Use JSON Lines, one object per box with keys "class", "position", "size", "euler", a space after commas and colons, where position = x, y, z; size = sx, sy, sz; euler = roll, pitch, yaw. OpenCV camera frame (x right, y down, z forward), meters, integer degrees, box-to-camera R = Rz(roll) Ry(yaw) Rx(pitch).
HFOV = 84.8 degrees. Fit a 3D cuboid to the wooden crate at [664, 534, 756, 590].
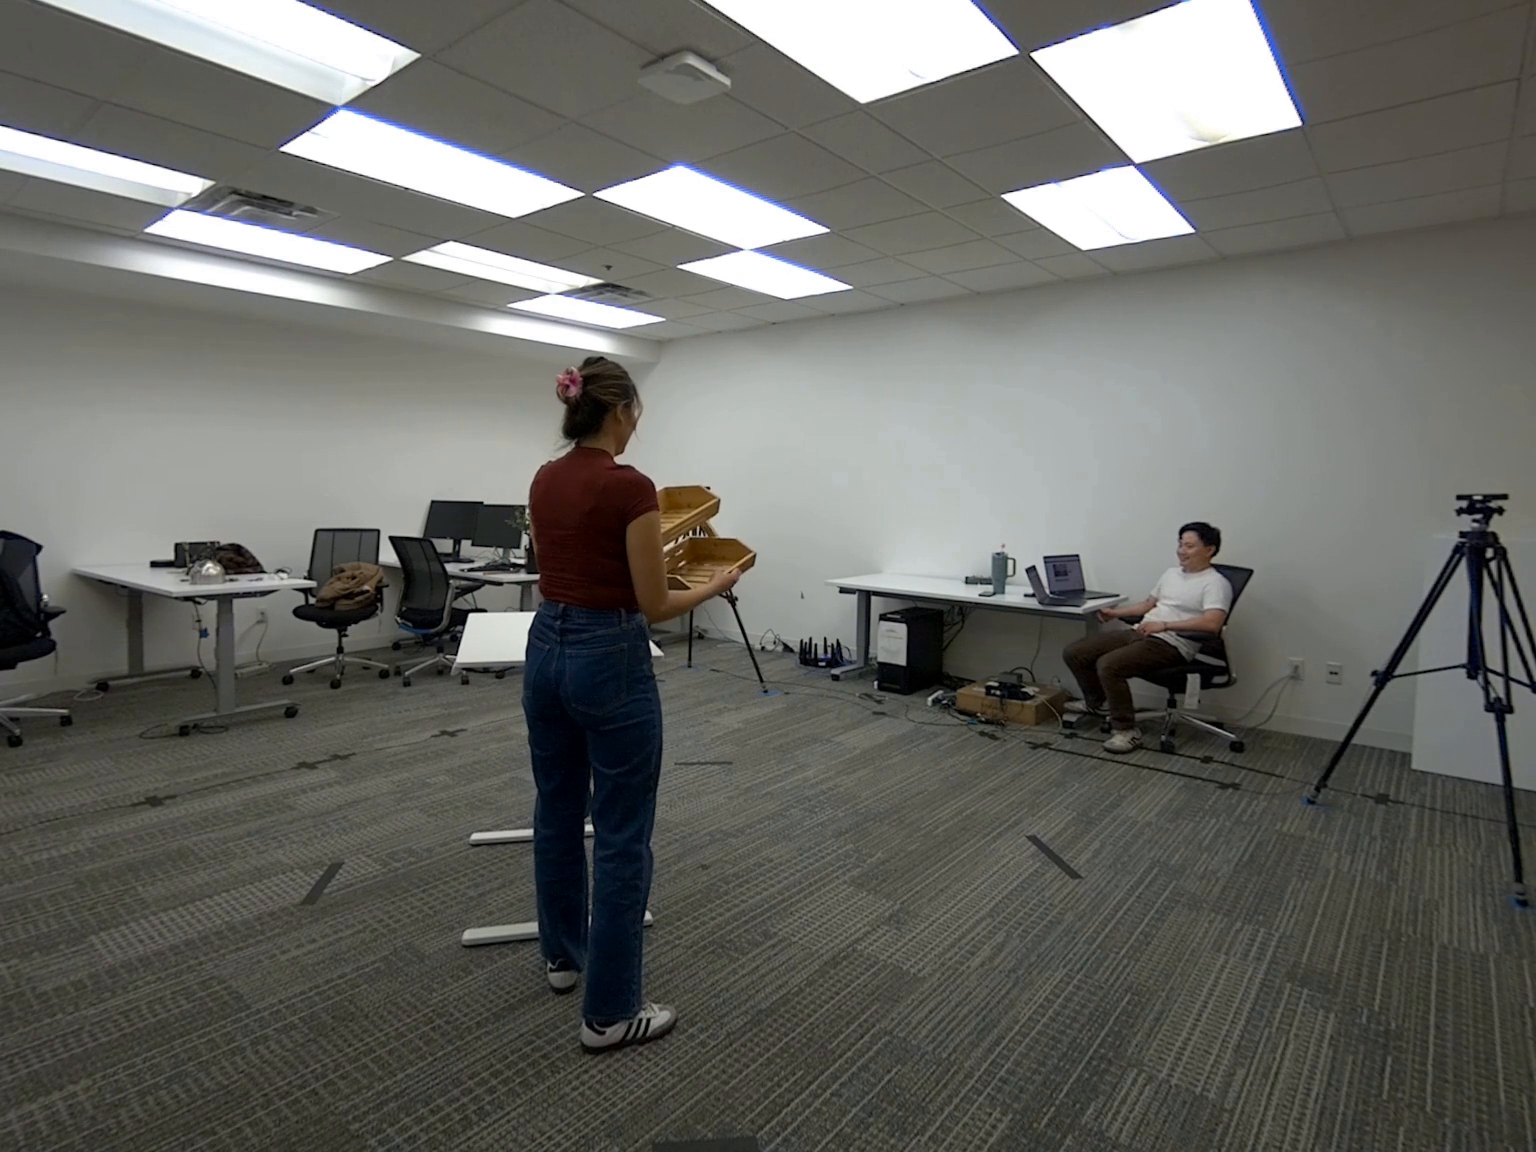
{"class": "wooden crate", "position": [-0.260, -0.101, 2.496], "size": [0.311, 0.268, 0.321], "euler": [2, 23, 36]}
